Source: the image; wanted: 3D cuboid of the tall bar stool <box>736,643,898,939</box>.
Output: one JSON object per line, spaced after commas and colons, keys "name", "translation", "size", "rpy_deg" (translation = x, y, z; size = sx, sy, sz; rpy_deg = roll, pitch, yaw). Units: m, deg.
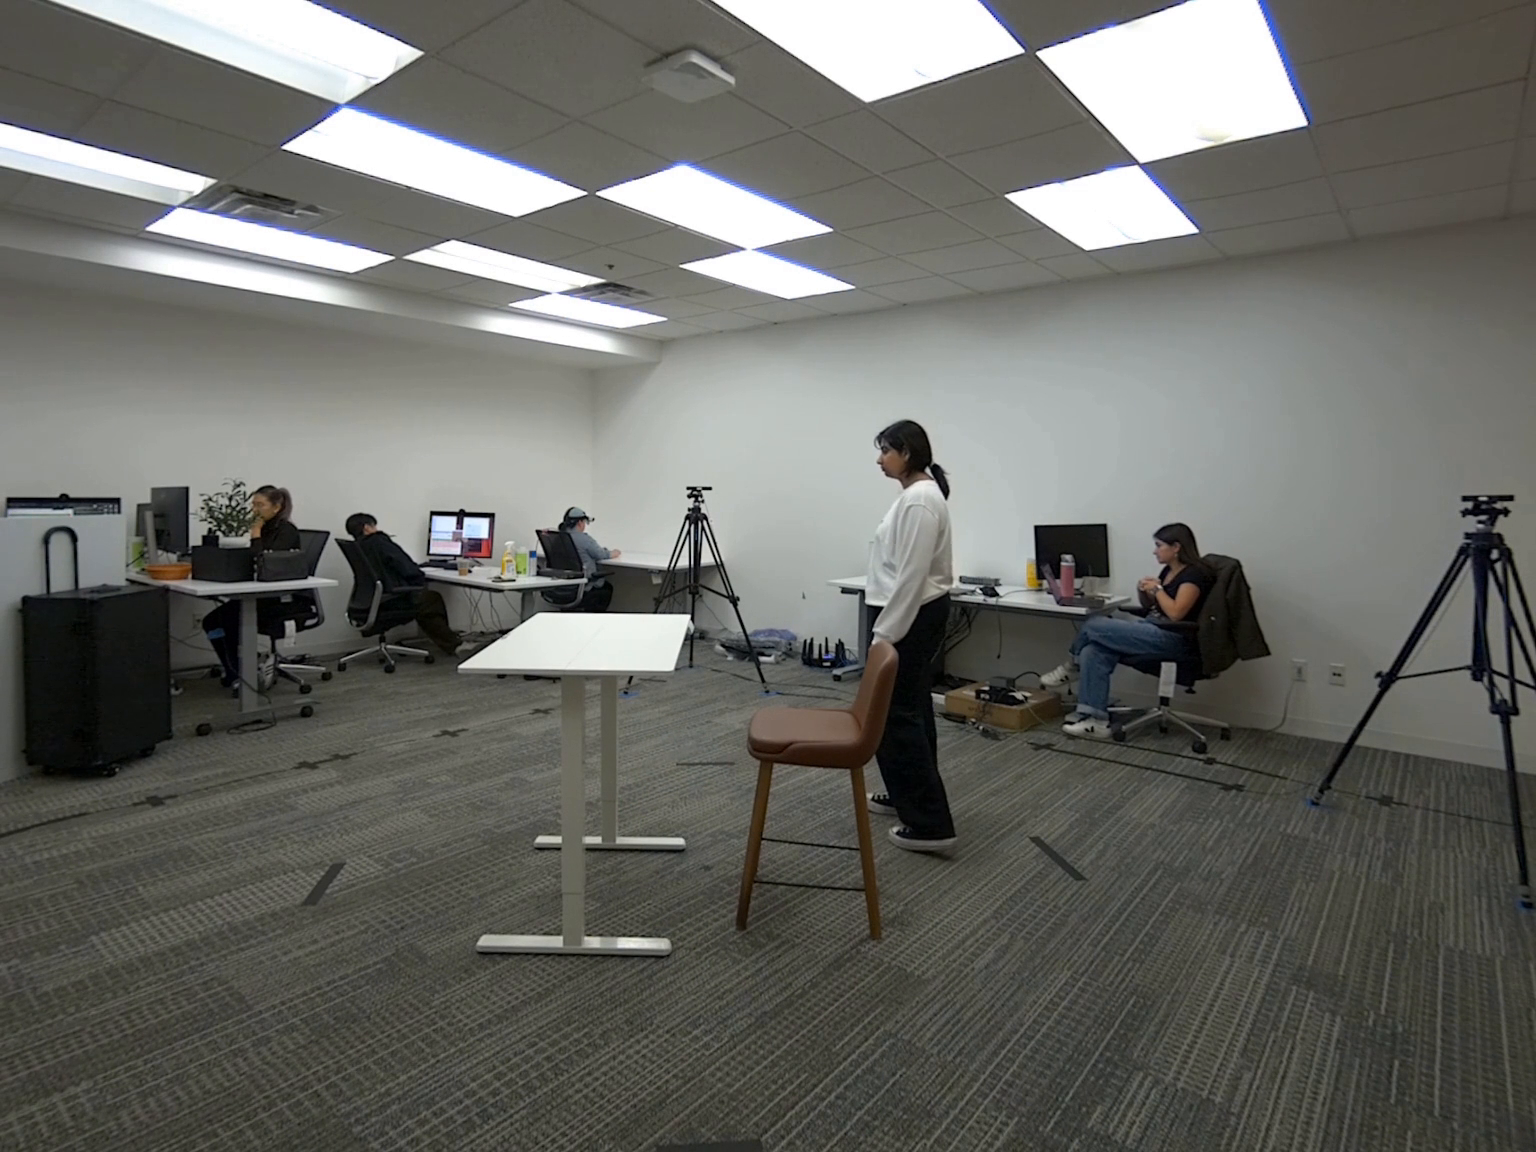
{"name": "tall bar stool", "translation": [0.156, 0.668, 2.823], "size": [0.472, 0.887, 0.454], "rpy_deg": [4, 4, 7]}
